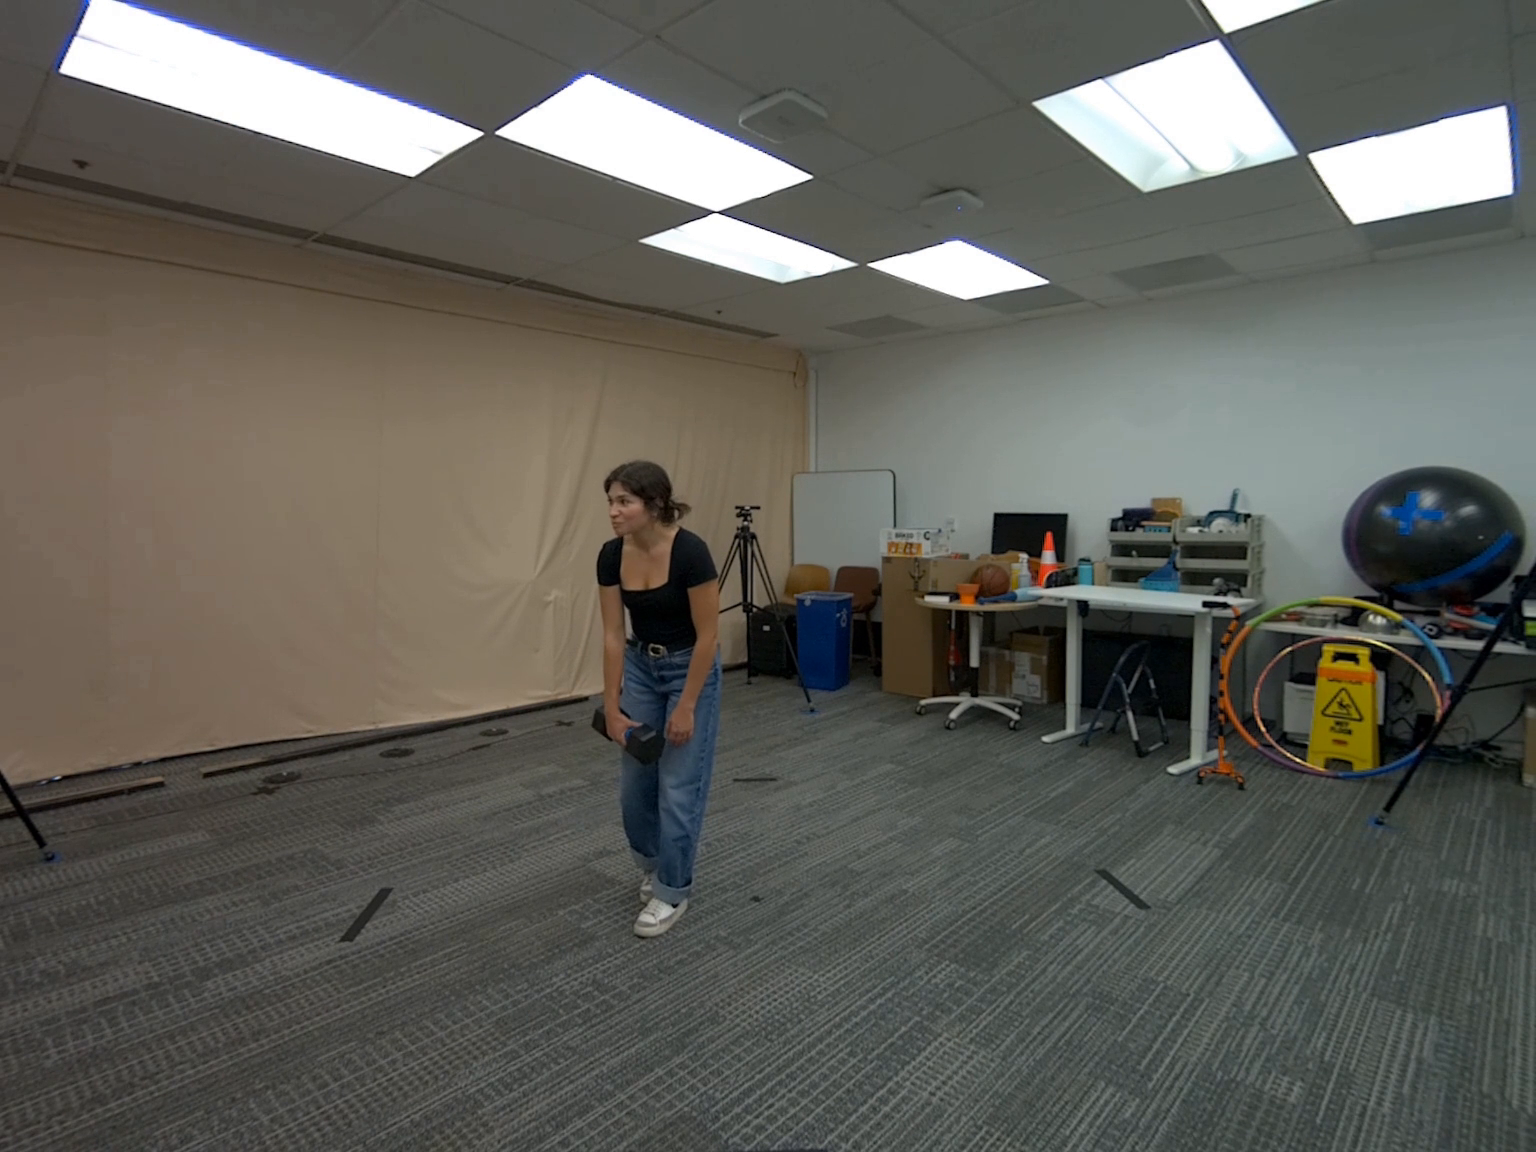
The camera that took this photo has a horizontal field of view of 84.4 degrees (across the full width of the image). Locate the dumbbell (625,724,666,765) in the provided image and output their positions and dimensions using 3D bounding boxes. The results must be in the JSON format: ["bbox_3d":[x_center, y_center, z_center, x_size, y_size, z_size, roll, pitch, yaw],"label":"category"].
[{"bbox_3d":[-0.458,0.517,2.773,0.304,0.108,0.119,17,-26,47],"label":"dumbbell"}]
